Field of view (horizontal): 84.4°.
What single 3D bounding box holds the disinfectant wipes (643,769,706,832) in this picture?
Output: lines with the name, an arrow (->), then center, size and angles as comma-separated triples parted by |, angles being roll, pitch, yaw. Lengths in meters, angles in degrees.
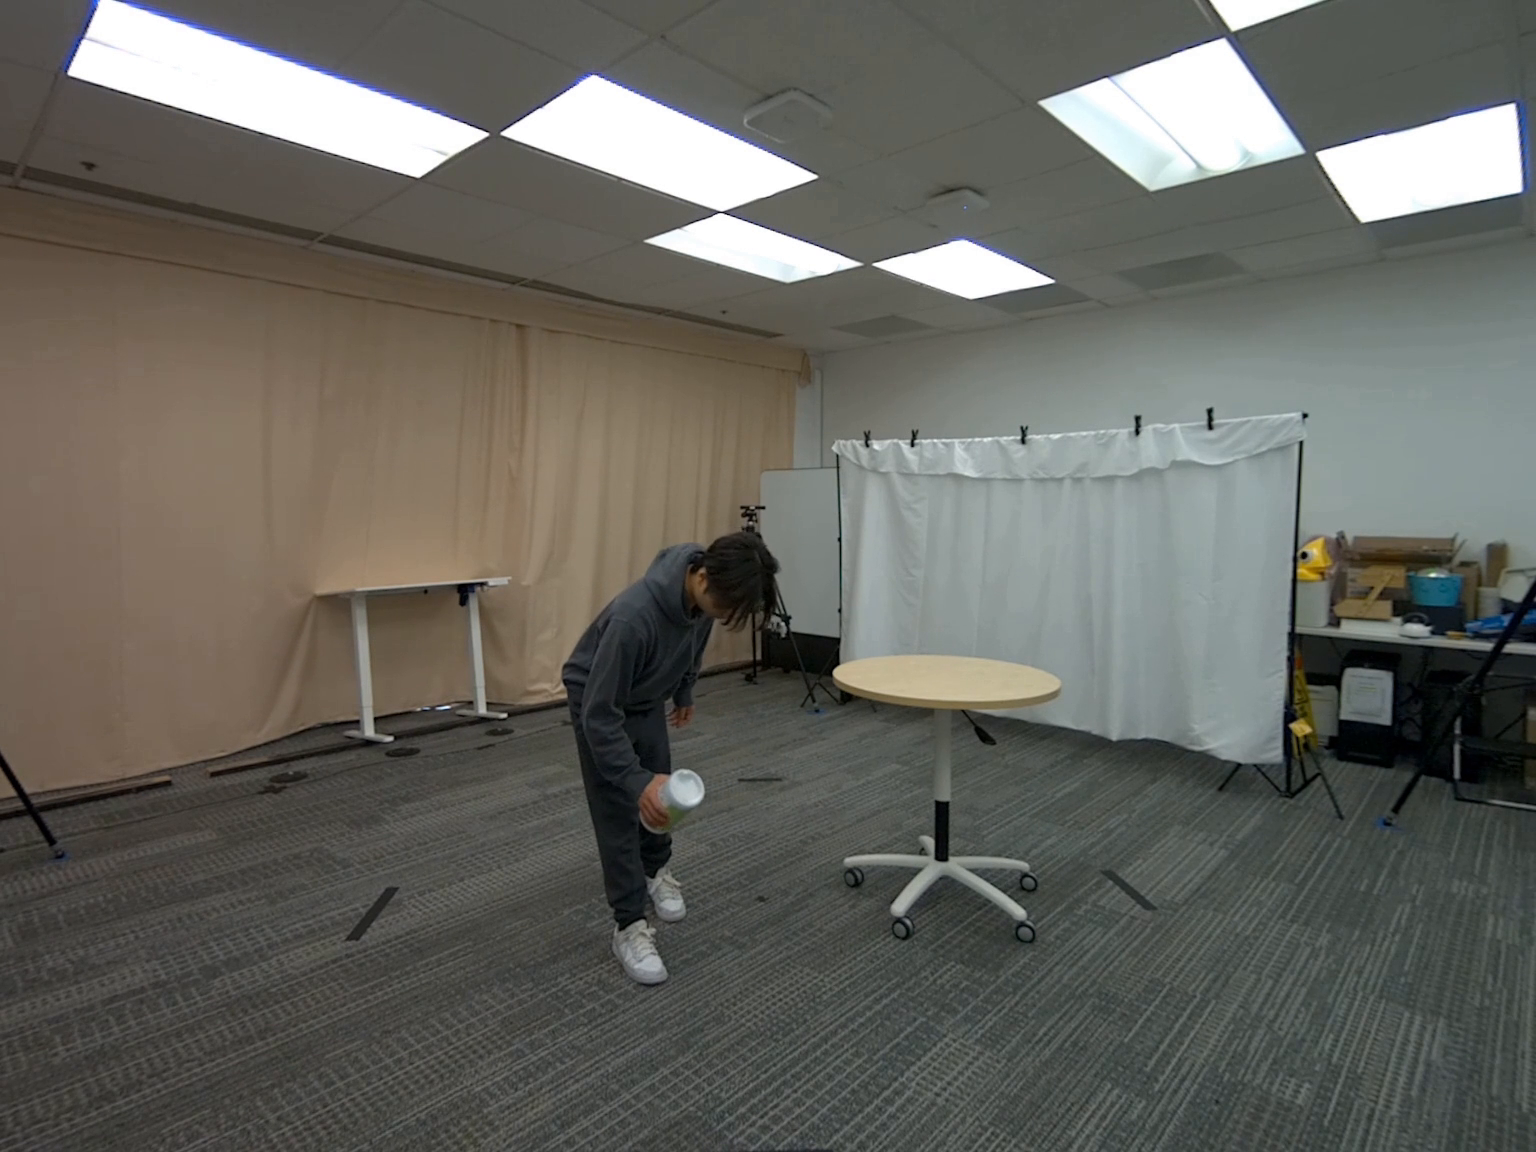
disinfectant wipes -> -0.267, 0.628, 2.346 | 0.114, 0.121, 0.218 | -2, -35, -35
